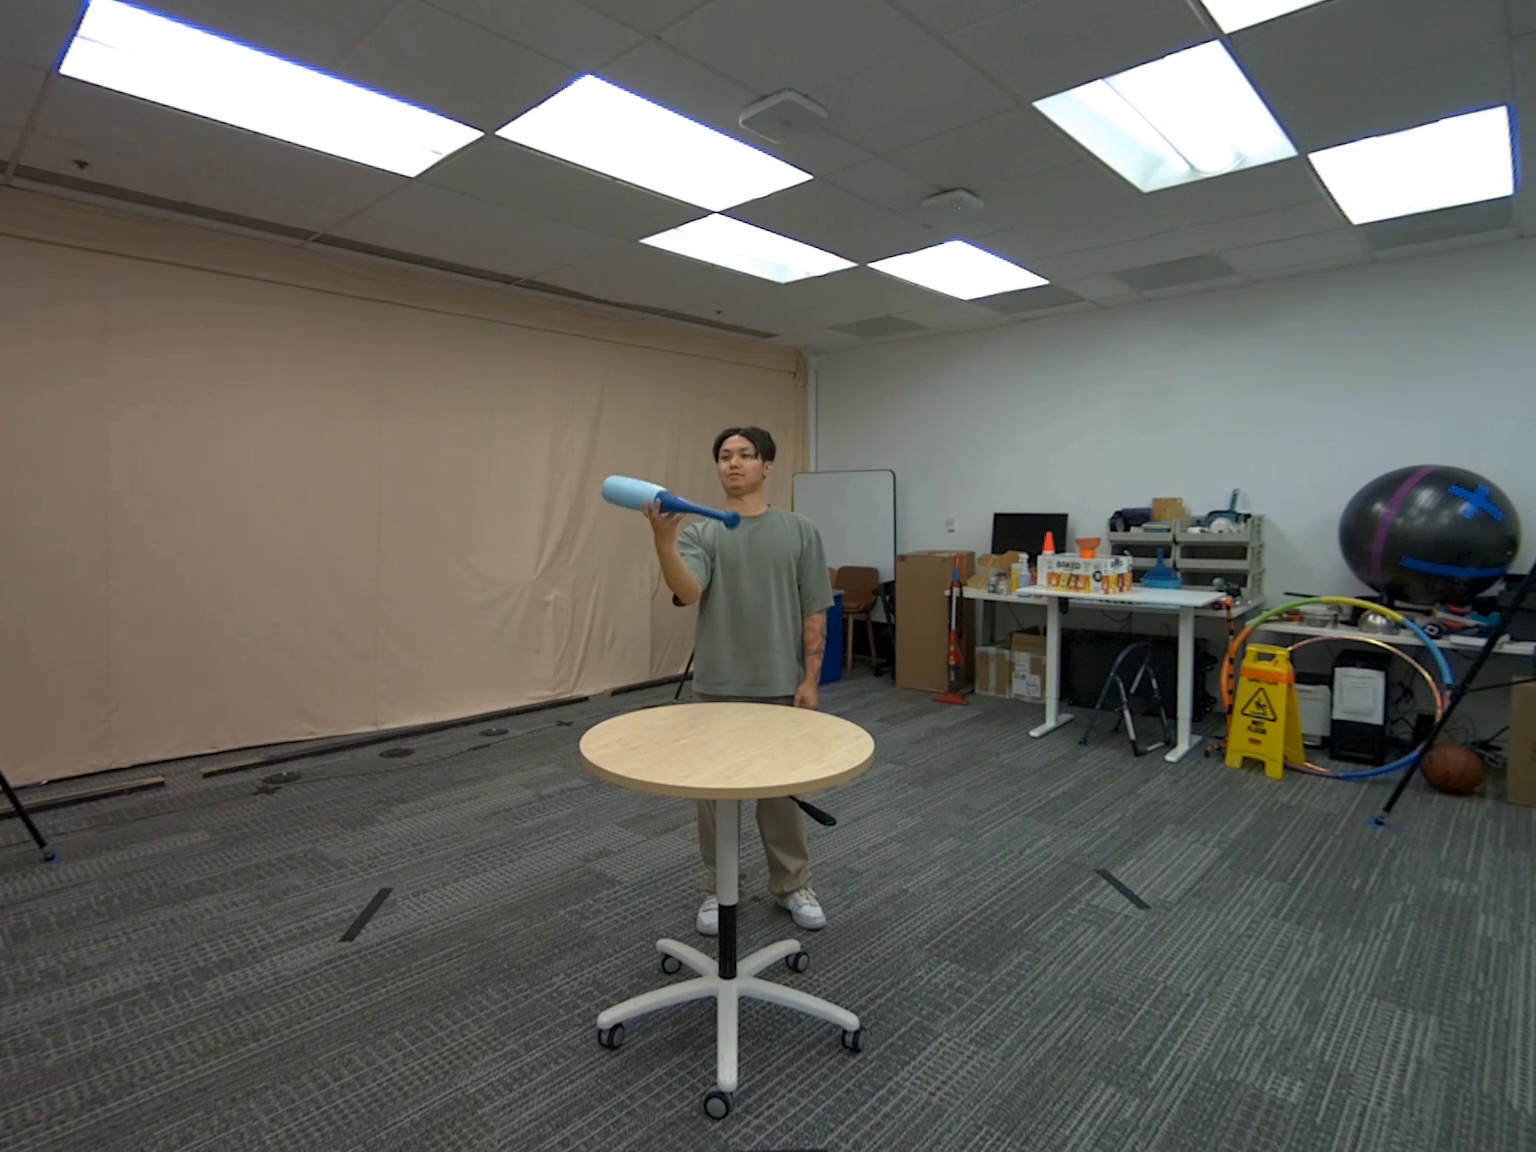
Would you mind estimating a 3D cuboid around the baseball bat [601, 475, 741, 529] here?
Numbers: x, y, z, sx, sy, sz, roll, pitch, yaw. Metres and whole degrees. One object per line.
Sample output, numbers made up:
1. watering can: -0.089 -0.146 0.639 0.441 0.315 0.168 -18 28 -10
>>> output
1. baseball bat: -0.274 -0.205 2.353 0.563 0.088 0.086 17 14 41
